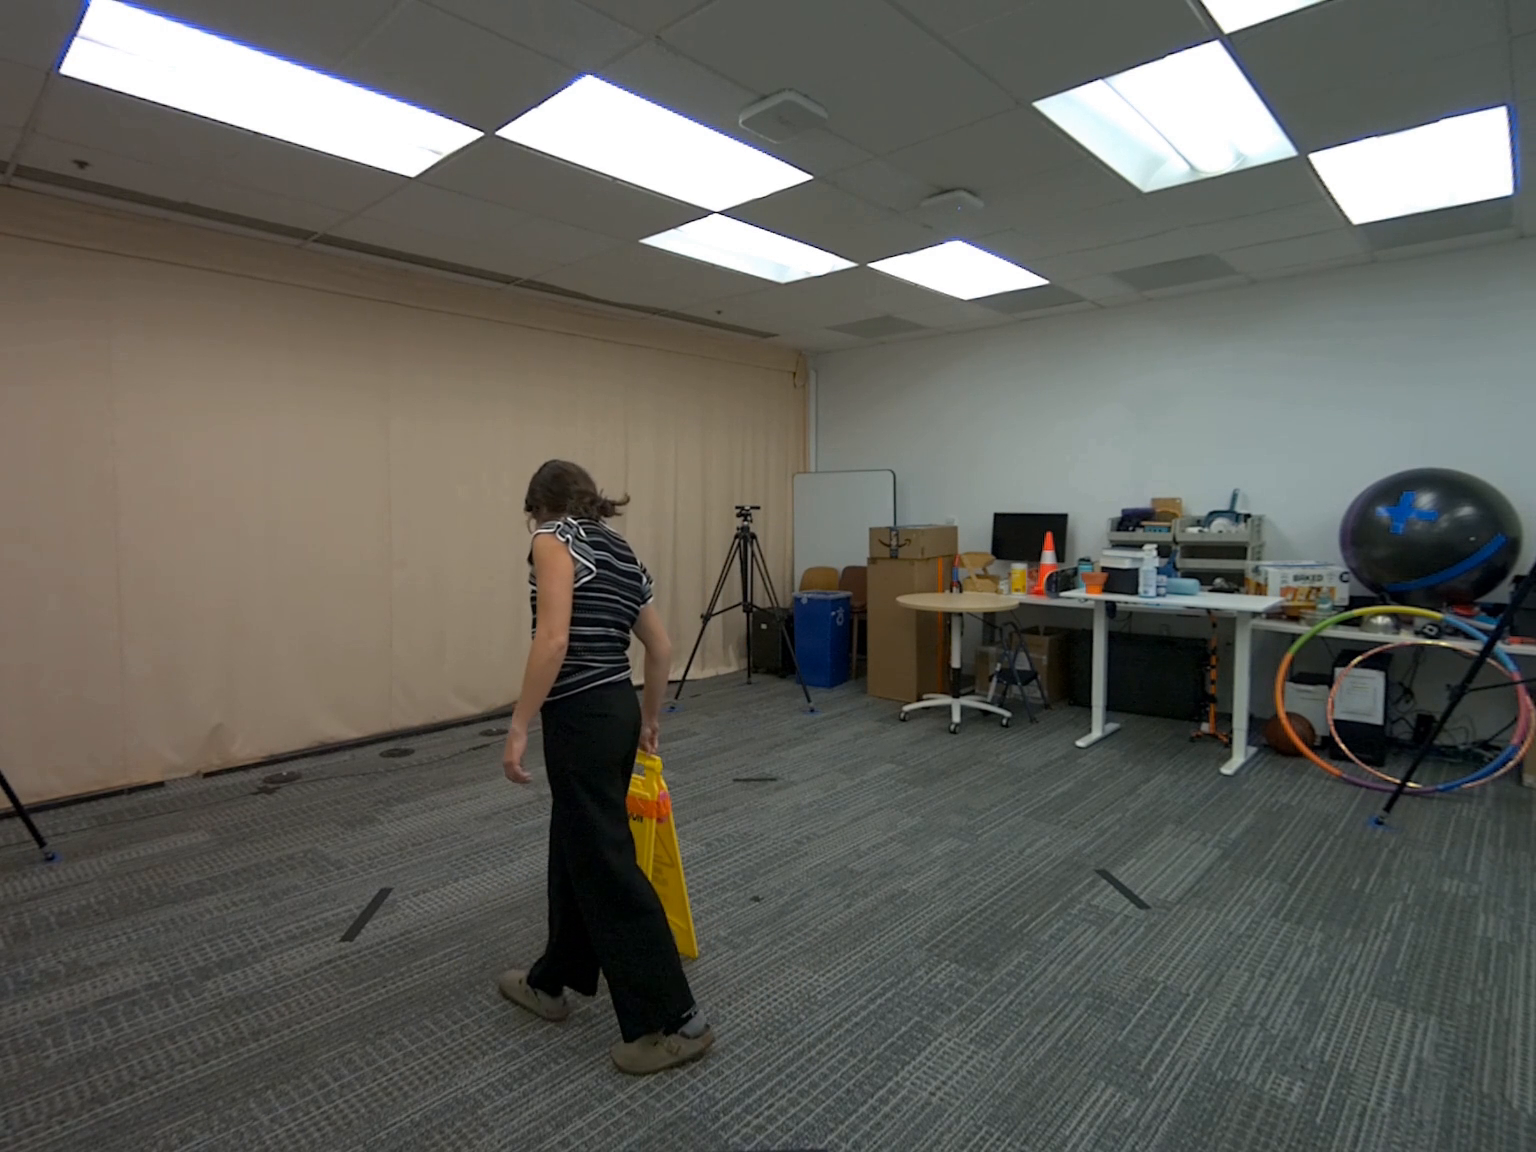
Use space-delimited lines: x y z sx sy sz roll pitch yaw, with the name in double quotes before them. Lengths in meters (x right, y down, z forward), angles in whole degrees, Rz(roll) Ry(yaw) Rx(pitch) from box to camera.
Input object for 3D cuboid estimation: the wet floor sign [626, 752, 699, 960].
"wet floor sign" -0.403 0.856 2.565 0.291 0.645 0.281 1 4 39
